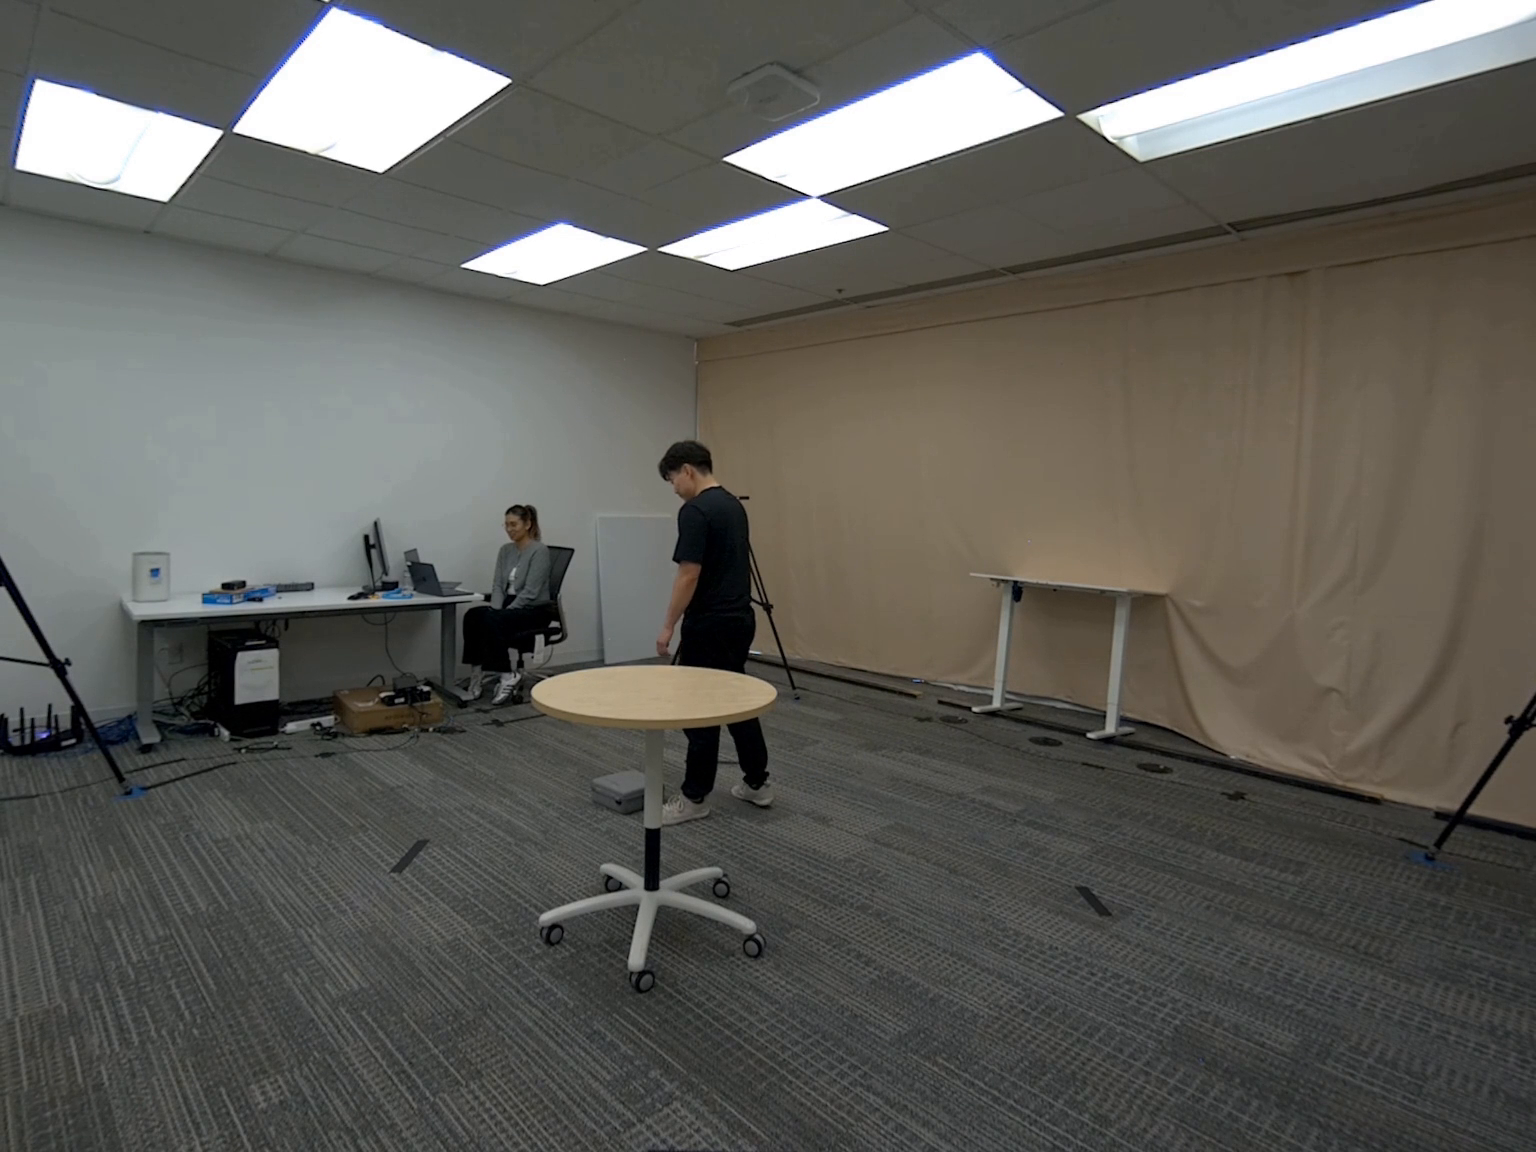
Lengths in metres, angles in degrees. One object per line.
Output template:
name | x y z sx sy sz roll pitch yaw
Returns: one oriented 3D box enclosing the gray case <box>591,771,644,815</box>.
gray case | -0.640 0.971 3.824 0.263 0.104 0.255 4 5 41
